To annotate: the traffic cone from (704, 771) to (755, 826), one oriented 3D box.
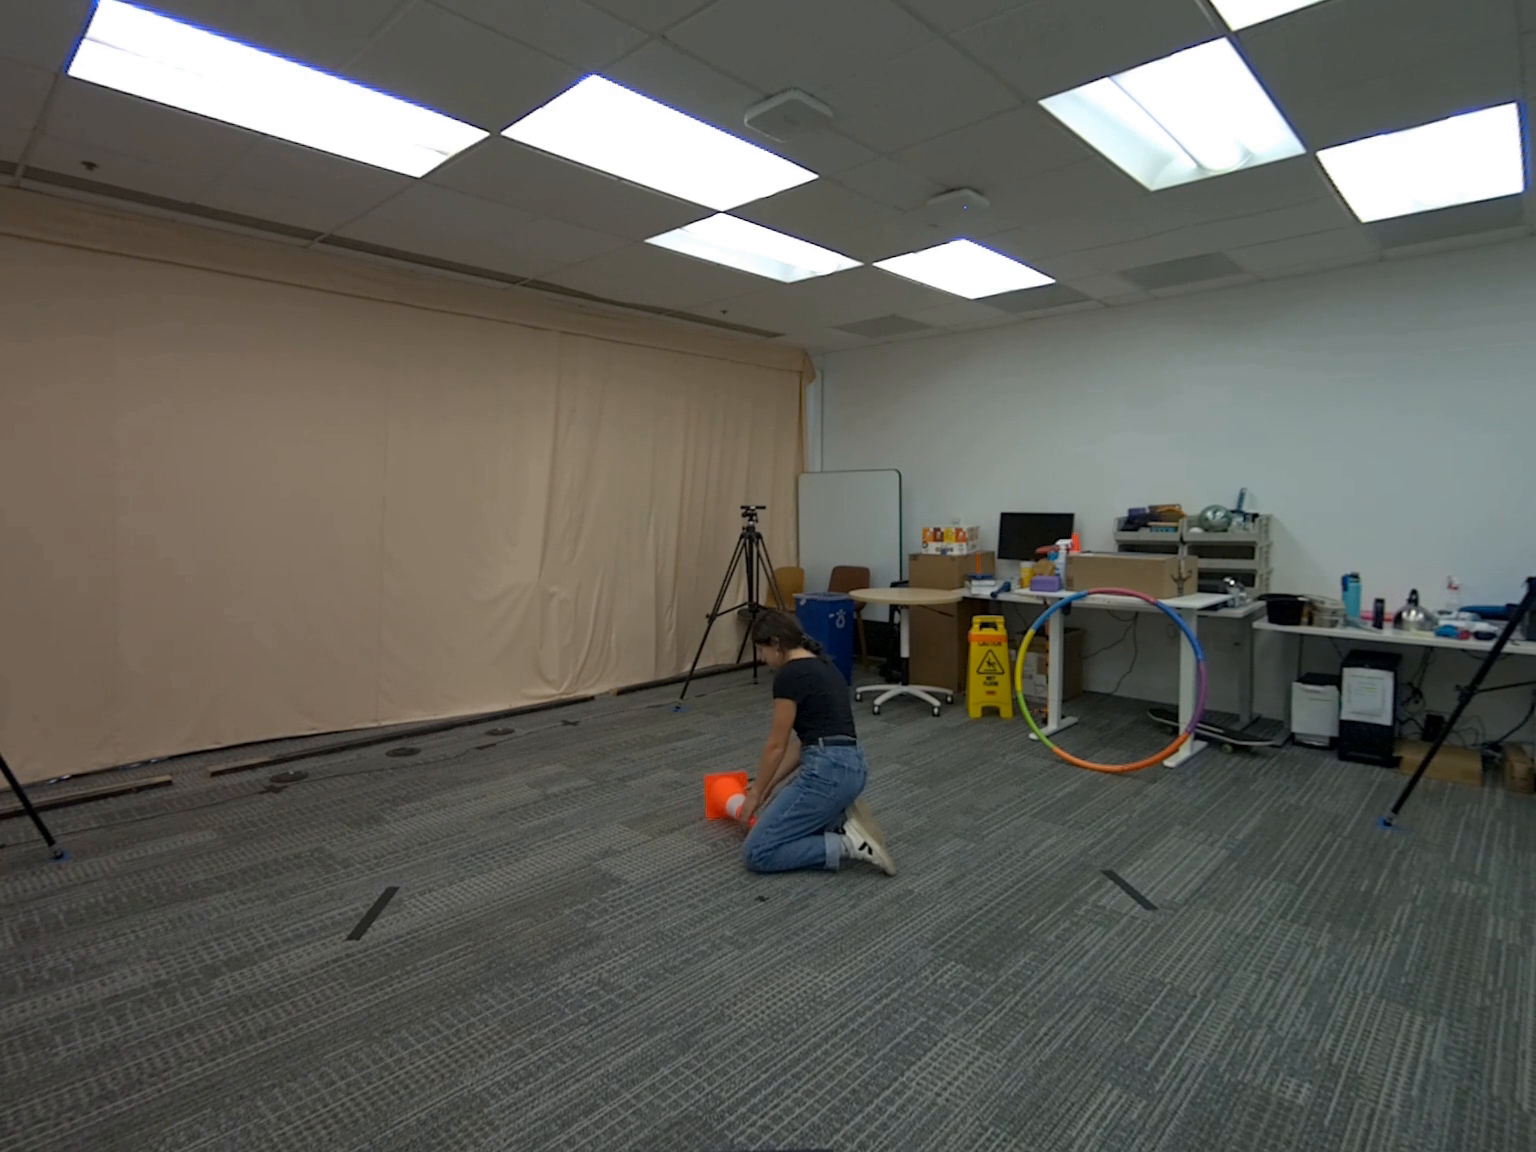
[{"bbox_3d":[-0.112,0.999,3.597,0.201,0.203,0.392,1,4,-20],"label":"traffic cone"}]
